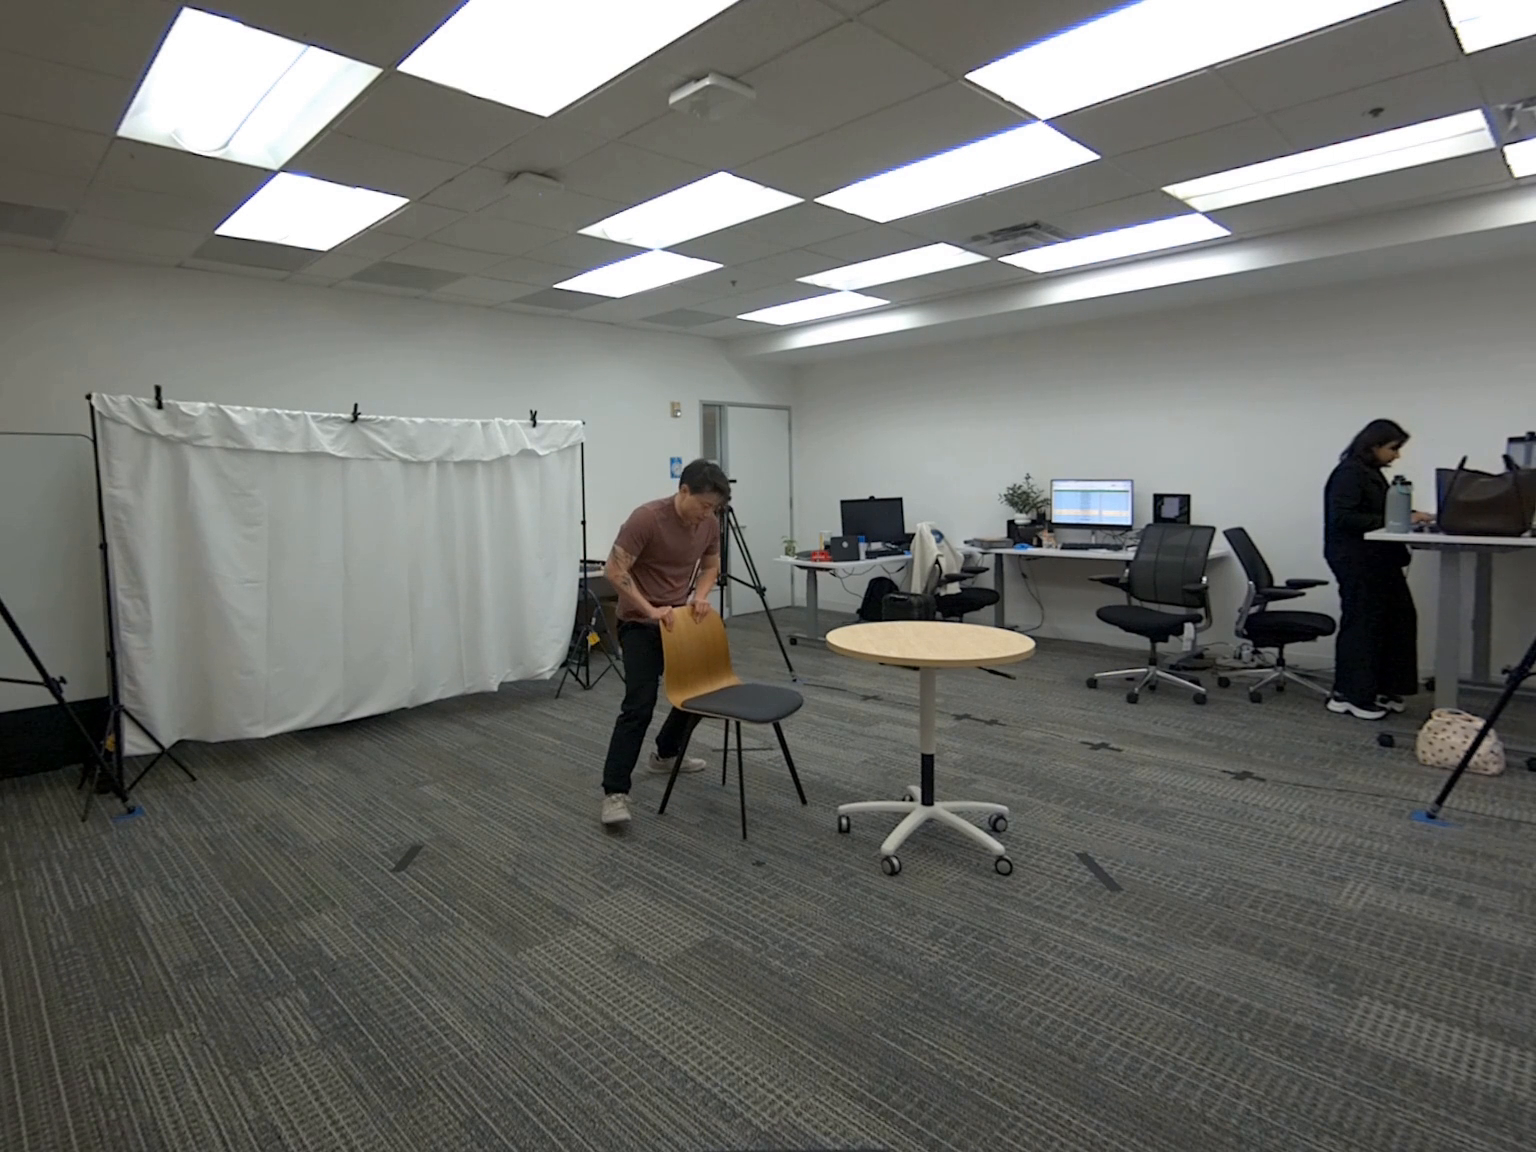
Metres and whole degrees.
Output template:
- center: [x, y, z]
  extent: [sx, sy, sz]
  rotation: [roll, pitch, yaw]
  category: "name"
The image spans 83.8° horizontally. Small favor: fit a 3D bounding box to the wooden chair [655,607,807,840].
- center: [-0.145, 0.567, 3.592]
  extent: [0.537, 0.877, 0.466]
  rotation: [-4, 1, 37]
  category: "wooden chair"
